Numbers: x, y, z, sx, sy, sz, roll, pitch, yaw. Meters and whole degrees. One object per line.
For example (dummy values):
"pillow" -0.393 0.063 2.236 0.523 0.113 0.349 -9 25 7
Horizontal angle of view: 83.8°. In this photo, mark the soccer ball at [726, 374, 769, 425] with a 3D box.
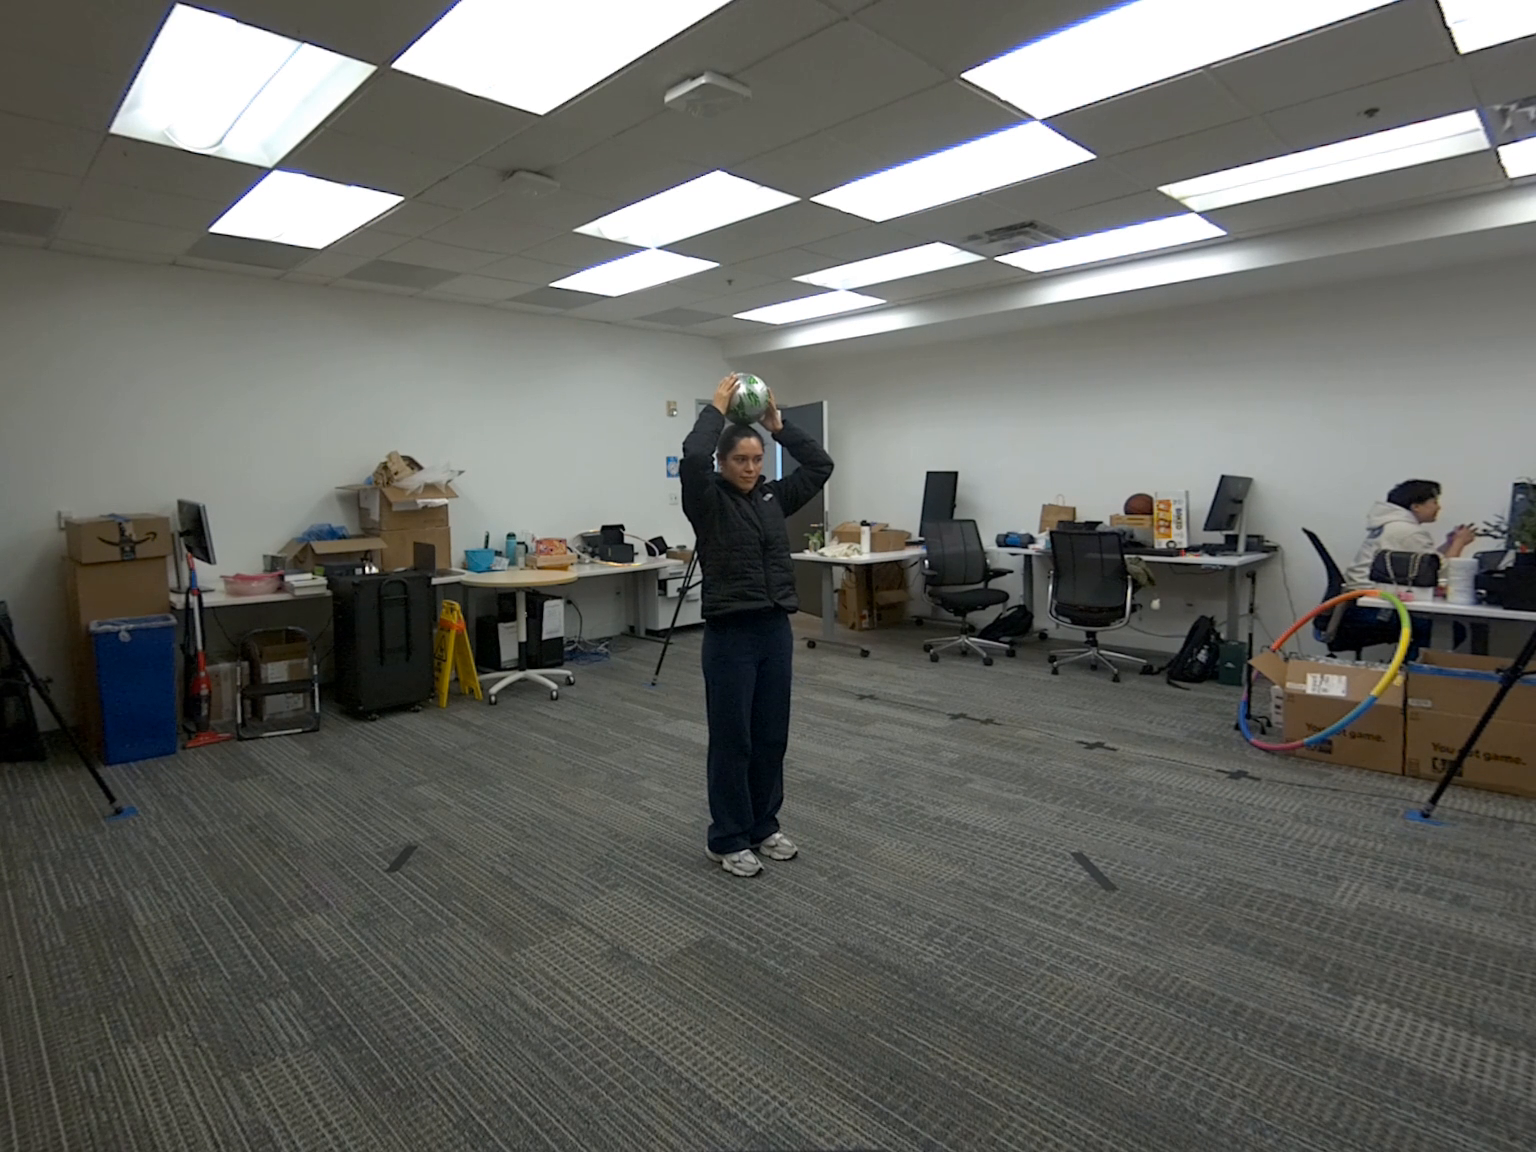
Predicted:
"soccer ball" -0.088 -0.641 3.103 0.187 0.187 0.188 -1 5 -2
